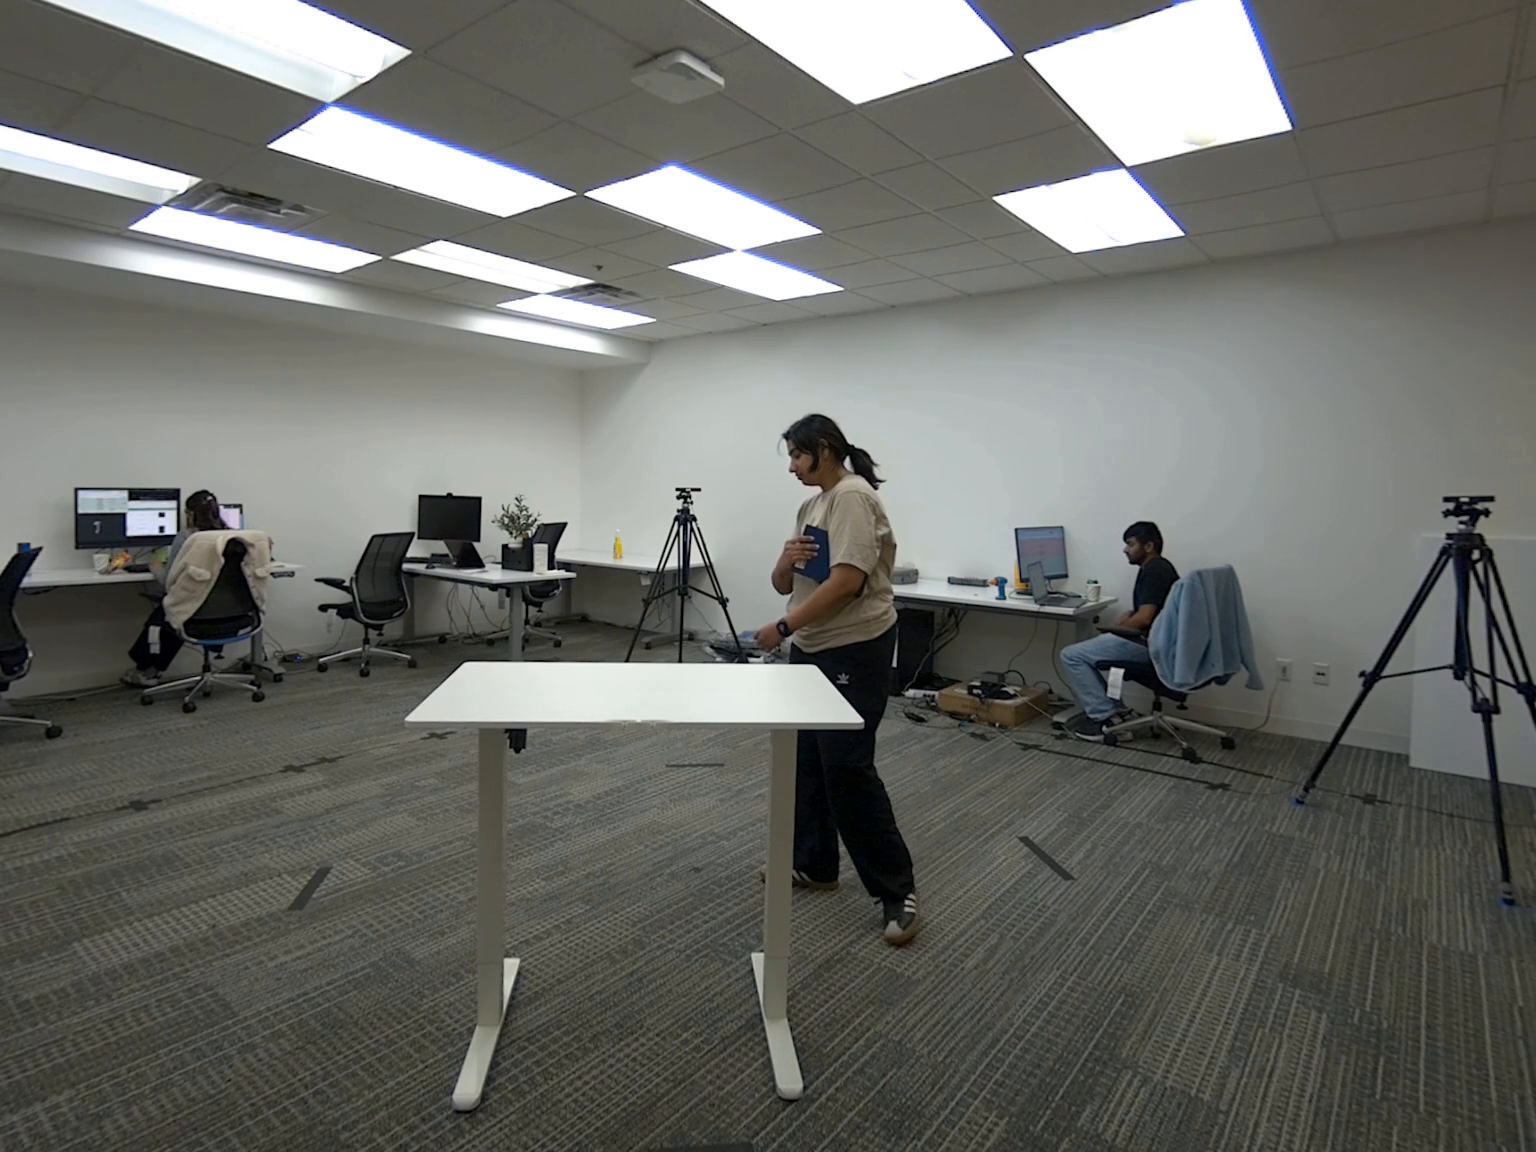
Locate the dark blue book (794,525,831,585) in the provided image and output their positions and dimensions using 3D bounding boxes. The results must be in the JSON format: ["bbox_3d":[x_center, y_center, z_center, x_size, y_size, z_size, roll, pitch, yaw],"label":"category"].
[{"bbox_3d":[0.202,-0.063,2.768,0.248,0.163,0.044,20,0,10],"label":"dark blue book"}]
